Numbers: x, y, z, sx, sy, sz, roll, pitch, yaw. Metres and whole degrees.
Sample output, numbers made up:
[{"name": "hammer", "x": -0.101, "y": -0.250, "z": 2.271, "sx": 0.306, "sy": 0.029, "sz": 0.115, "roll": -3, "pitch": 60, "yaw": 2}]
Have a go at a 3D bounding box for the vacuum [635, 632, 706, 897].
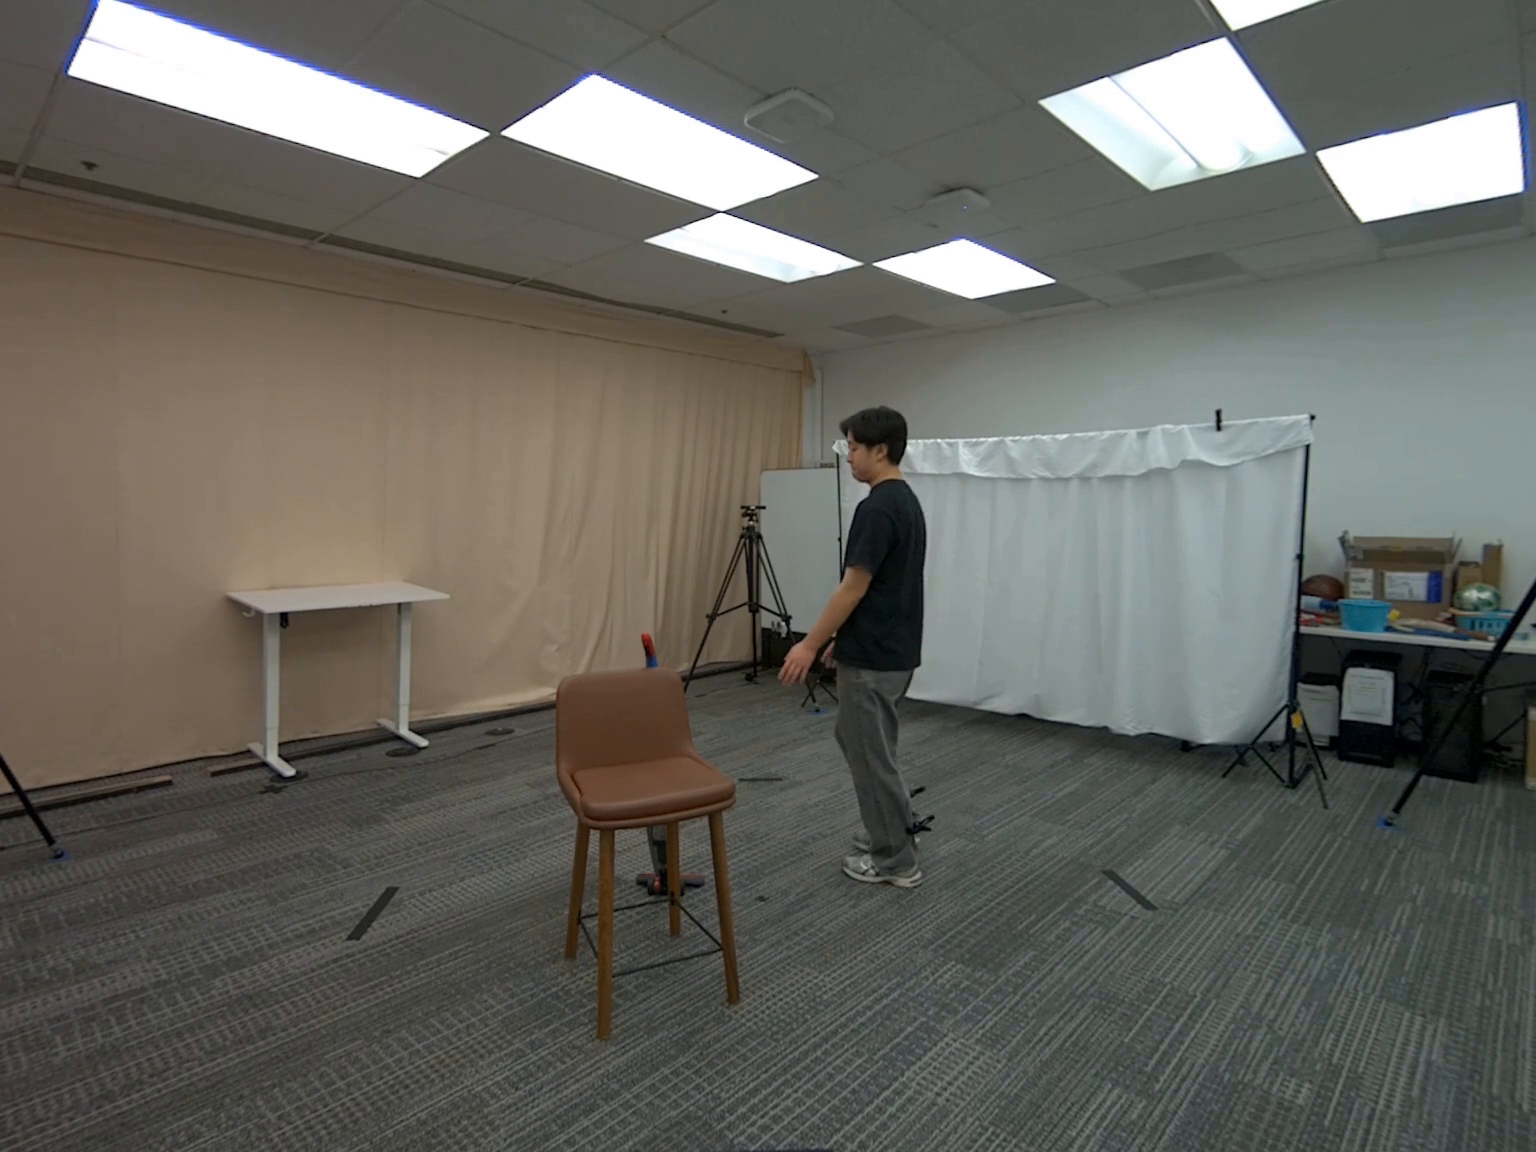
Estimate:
[{"name": "vacuum", "x": -0.369, "y": 0.657, "z": 2.861, "sx": 0.253, "sy": 1.035, "sz": 0.146, "roll": 0, "pitch": 23, "yaw": 0}]
